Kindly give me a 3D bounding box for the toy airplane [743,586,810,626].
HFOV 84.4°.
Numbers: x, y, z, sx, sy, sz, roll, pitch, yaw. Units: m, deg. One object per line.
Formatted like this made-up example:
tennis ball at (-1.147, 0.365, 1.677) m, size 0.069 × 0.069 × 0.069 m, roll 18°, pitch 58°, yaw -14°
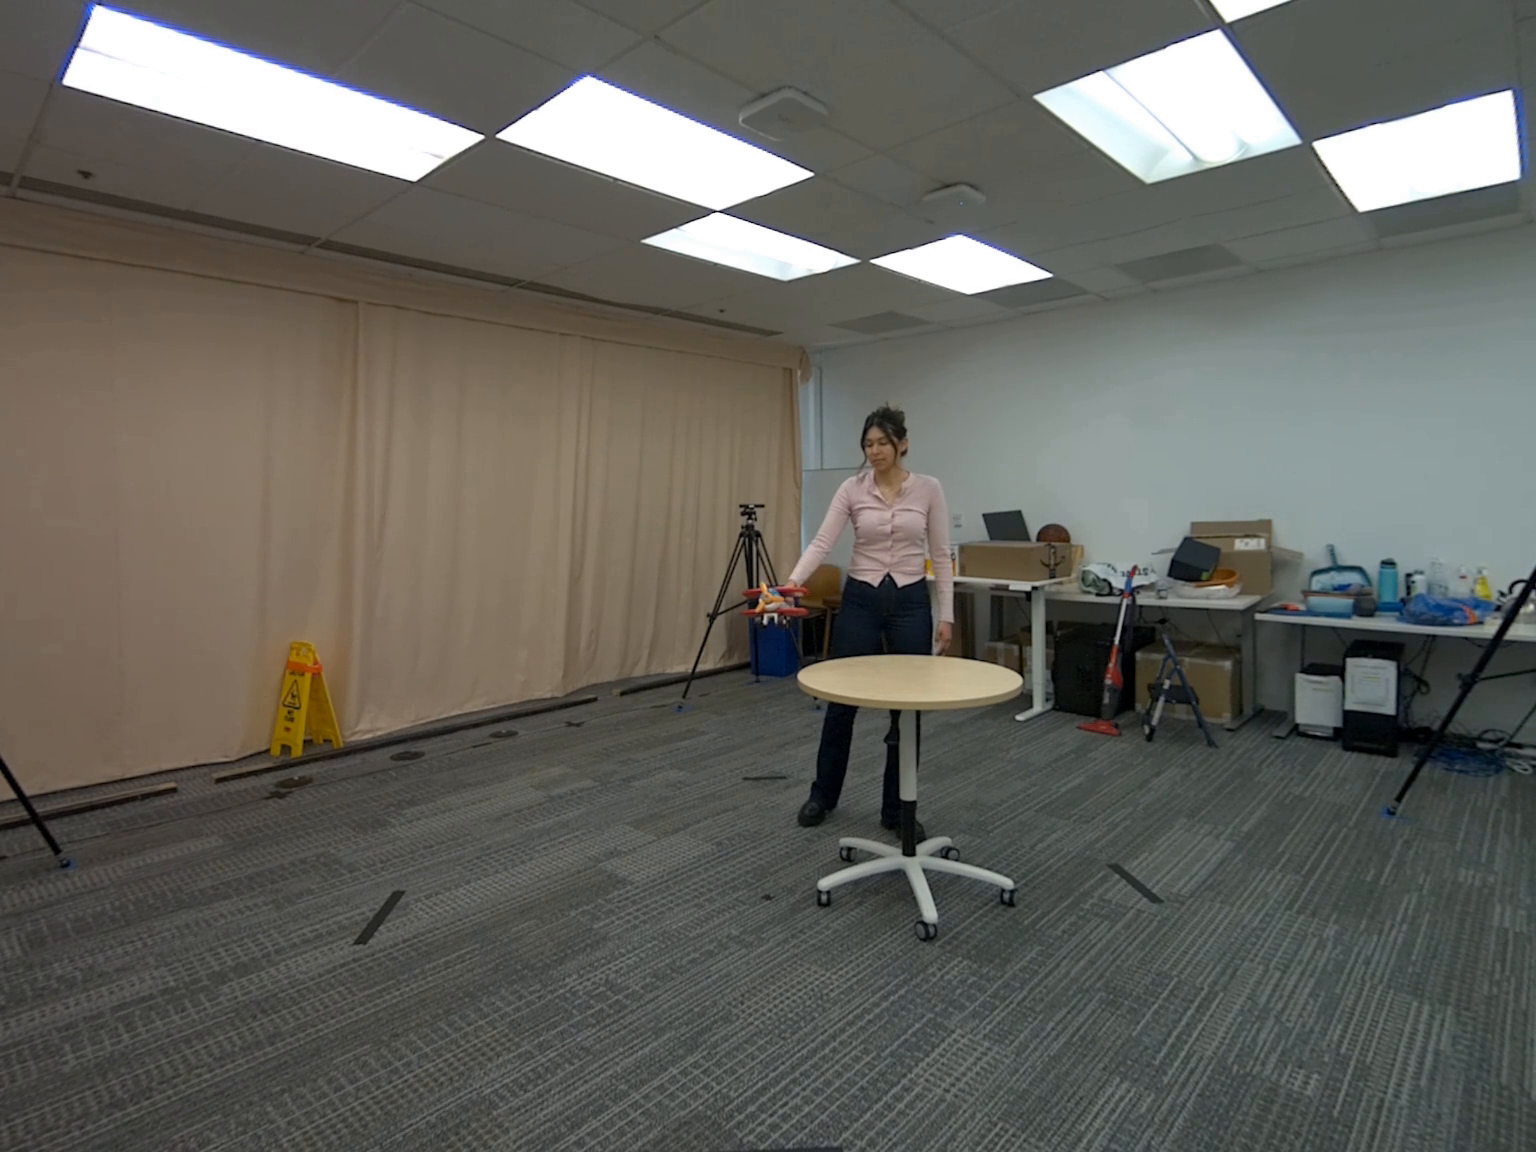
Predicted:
toy airplane at (0.018, 0.125, 3.215) m, size 0.249 × 0.157 × 0.260 m, roll -2°, pitch -3°, yaw -7°
